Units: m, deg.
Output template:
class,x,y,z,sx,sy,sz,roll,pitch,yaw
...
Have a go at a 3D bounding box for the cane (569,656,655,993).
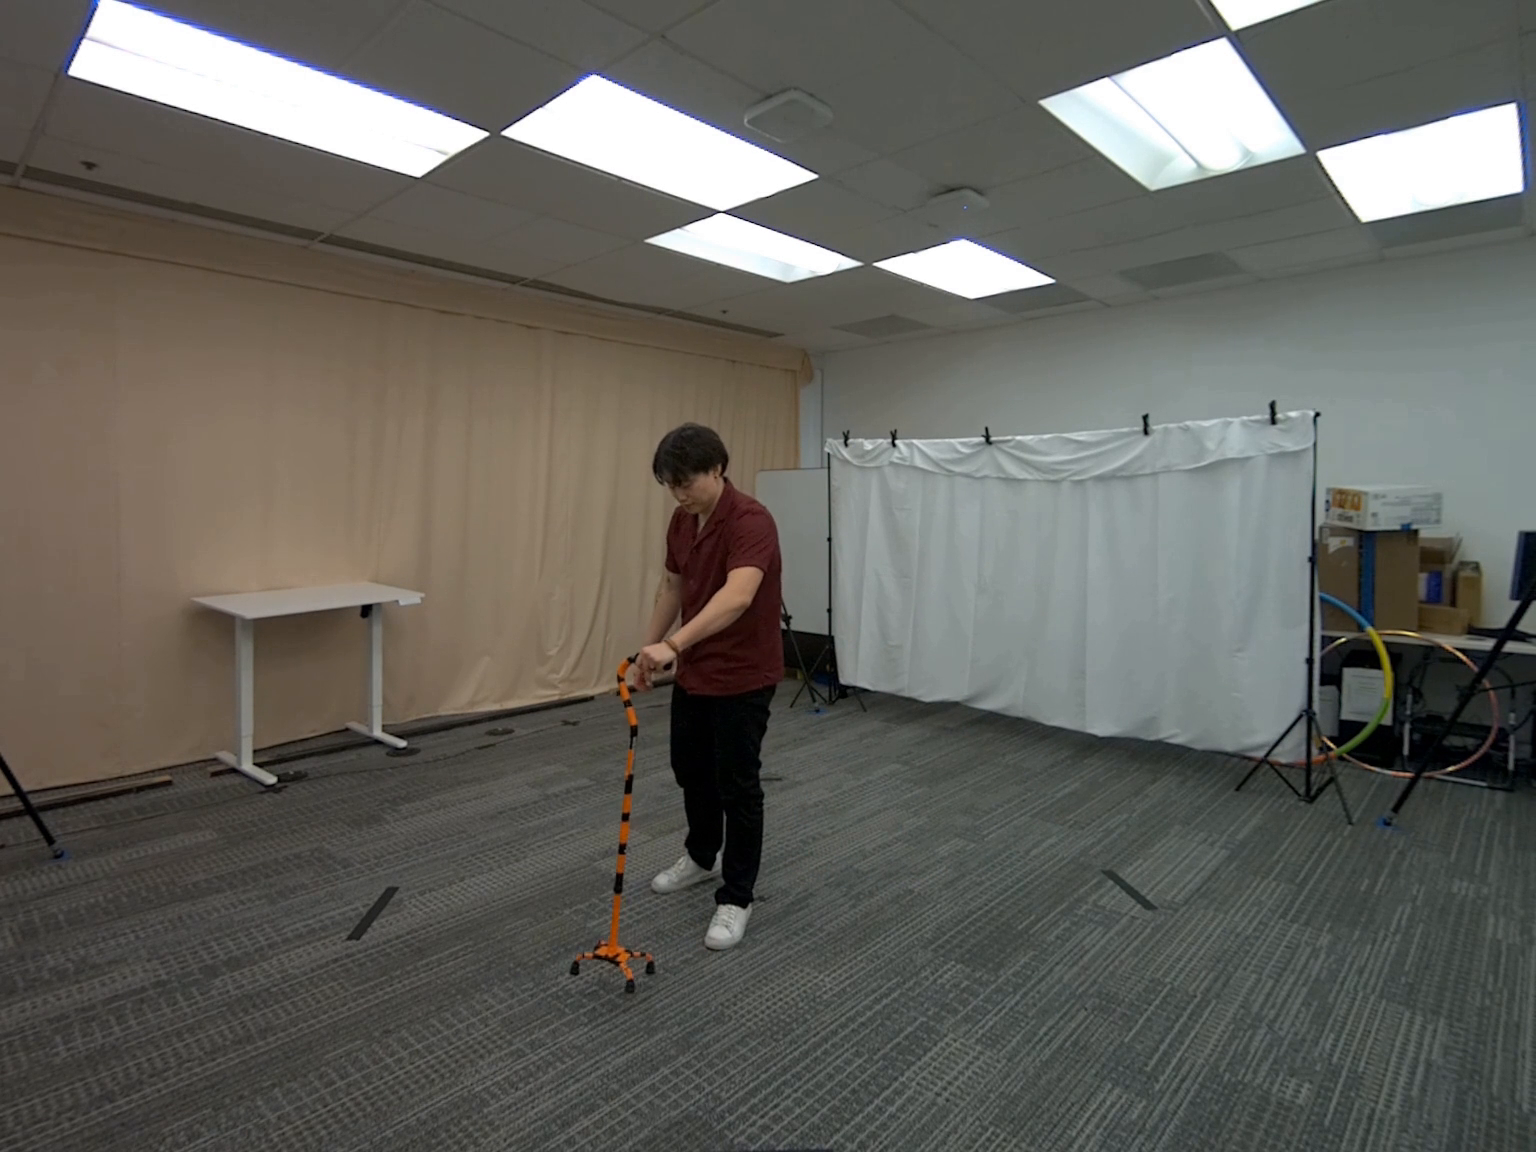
class,x,y,z,sx,sy,sz,roll,pitch,yaw
cane,-0.394,0.686,2.386,0.211,0.908,0.148,5,0,21
